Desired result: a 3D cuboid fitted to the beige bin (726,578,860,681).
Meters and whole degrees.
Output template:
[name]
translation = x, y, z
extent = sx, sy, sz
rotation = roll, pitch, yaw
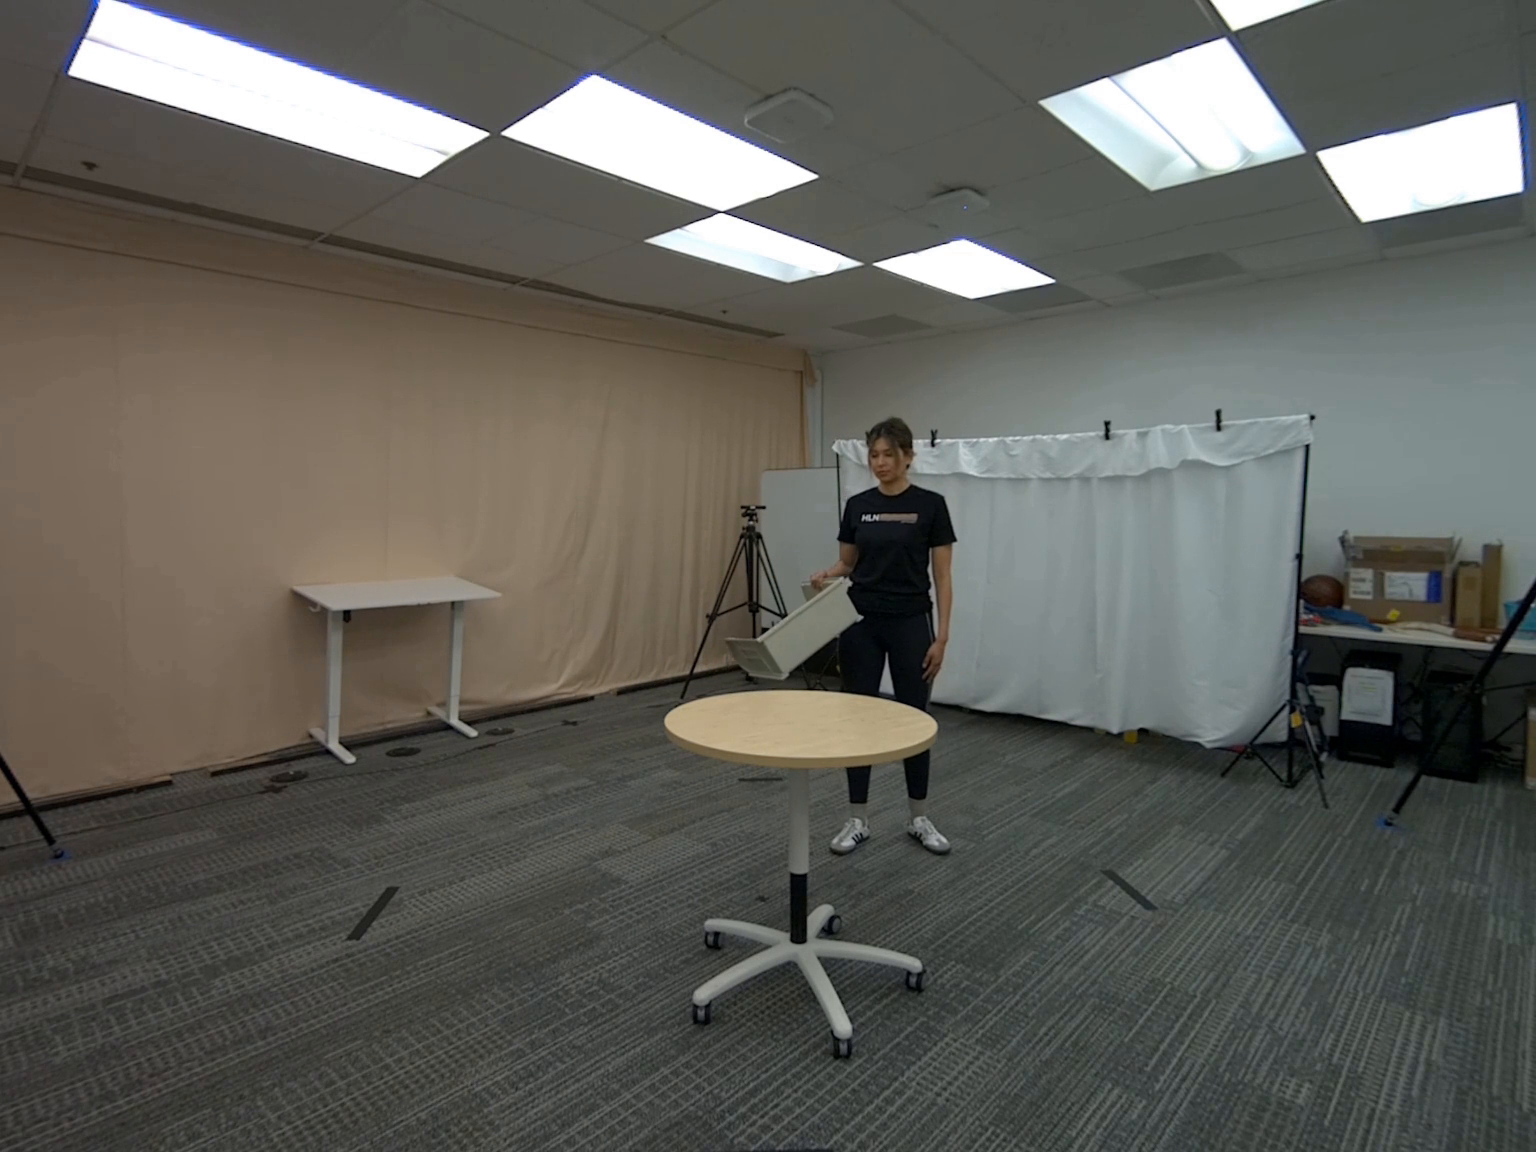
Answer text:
[beige bin]
translation = 0.096, 0.202, 3.269
extent = 0.418, 0.187, 0.385
rotation = -35, 11, -20
